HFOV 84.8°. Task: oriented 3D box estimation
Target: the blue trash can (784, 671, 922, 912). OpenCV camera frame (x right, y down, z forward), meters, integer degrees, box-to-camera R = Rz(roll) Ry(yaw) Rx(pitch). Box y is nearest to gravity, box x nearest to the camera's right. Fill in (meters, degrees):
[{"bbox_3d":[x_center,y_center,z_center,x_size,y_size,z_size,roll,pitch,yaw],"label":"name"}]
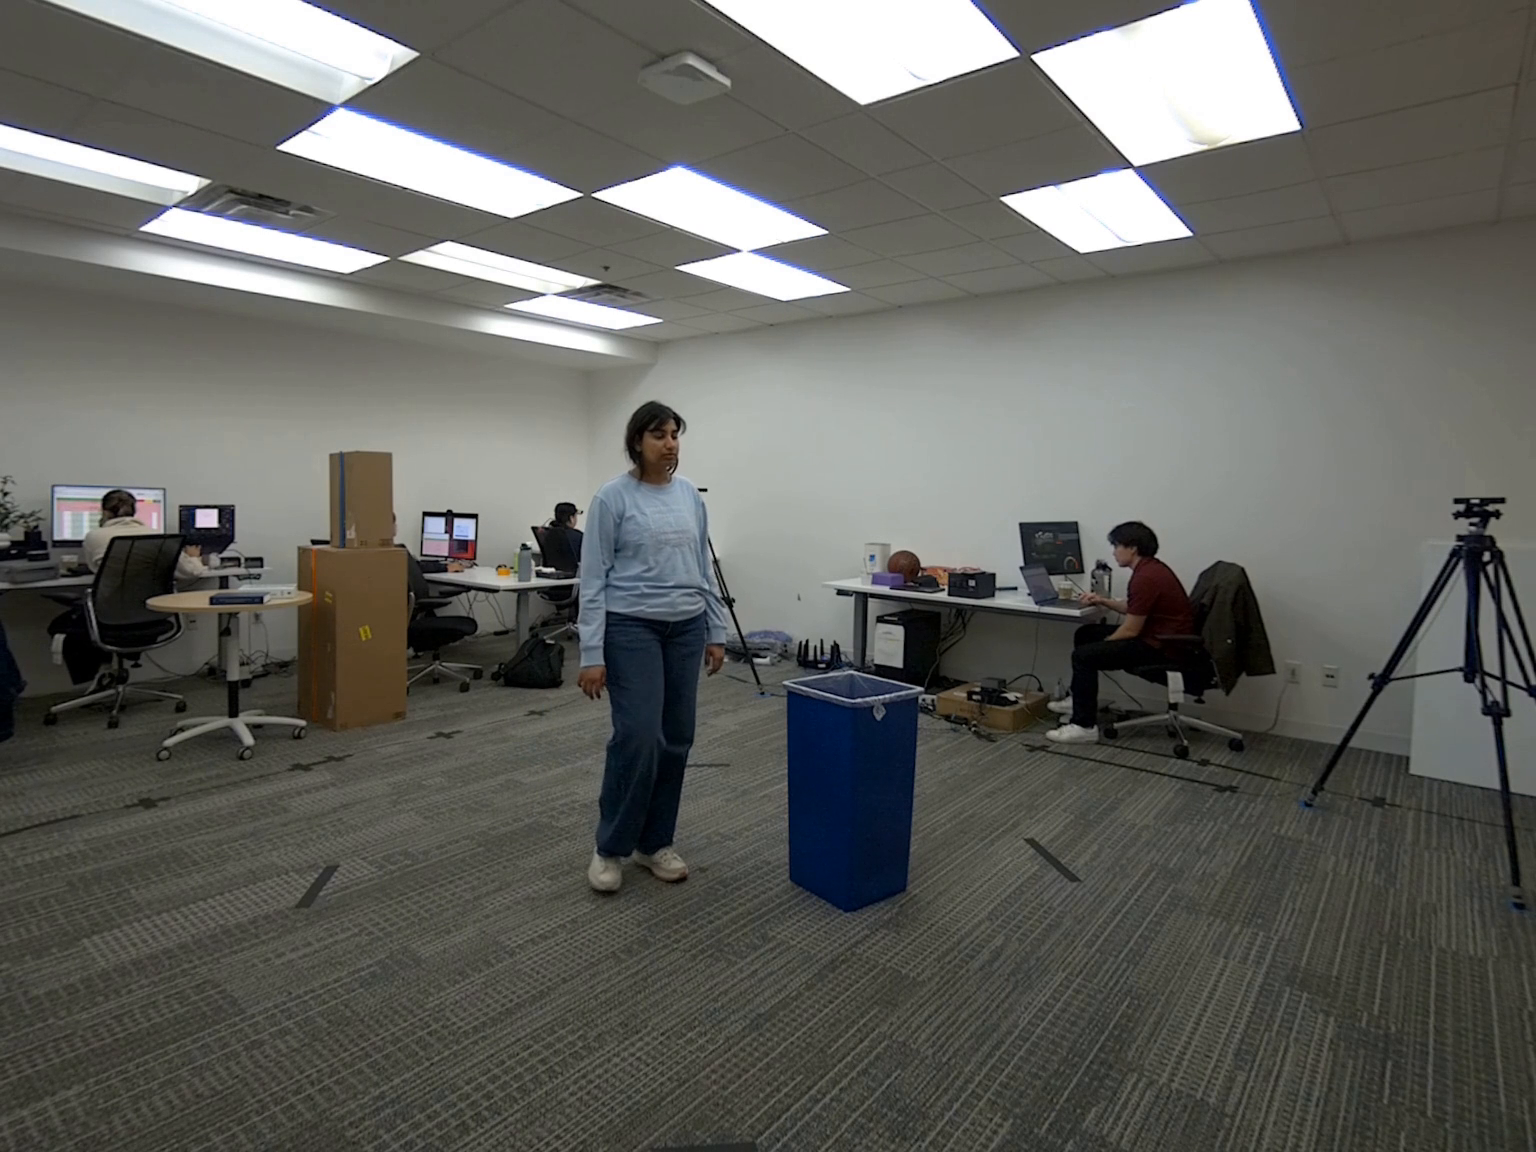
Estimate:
[{"bbox_3d":[0.275,0.737,2.999,0.366,0.712,0.387,-1,4,-39],"label":"blue trash can"}]
